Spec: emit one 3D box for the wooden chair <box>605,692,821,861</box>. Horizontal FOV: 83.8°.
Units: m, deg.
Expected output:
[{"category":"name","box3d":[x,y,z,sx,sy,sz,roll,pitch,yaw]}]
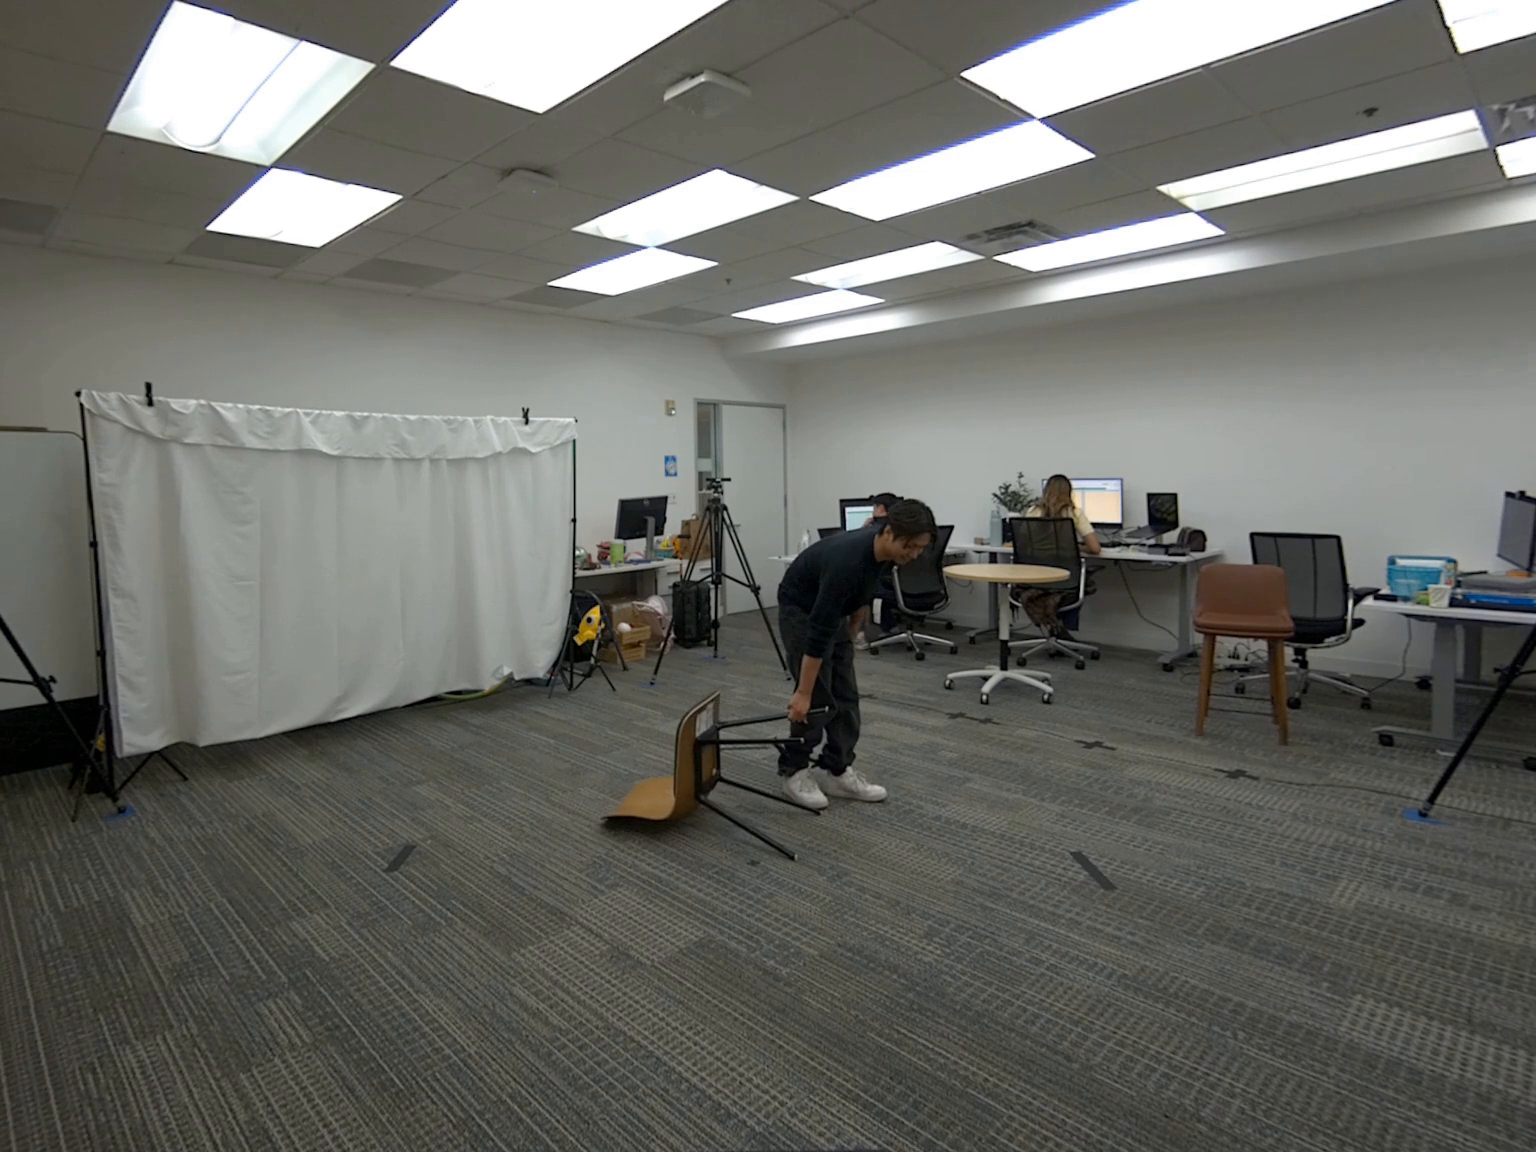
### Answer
[{"category":"wooden chair","box3d":[-0.241,0.747,3.449,0.893,0.521,0.472,0,5,19]}]
